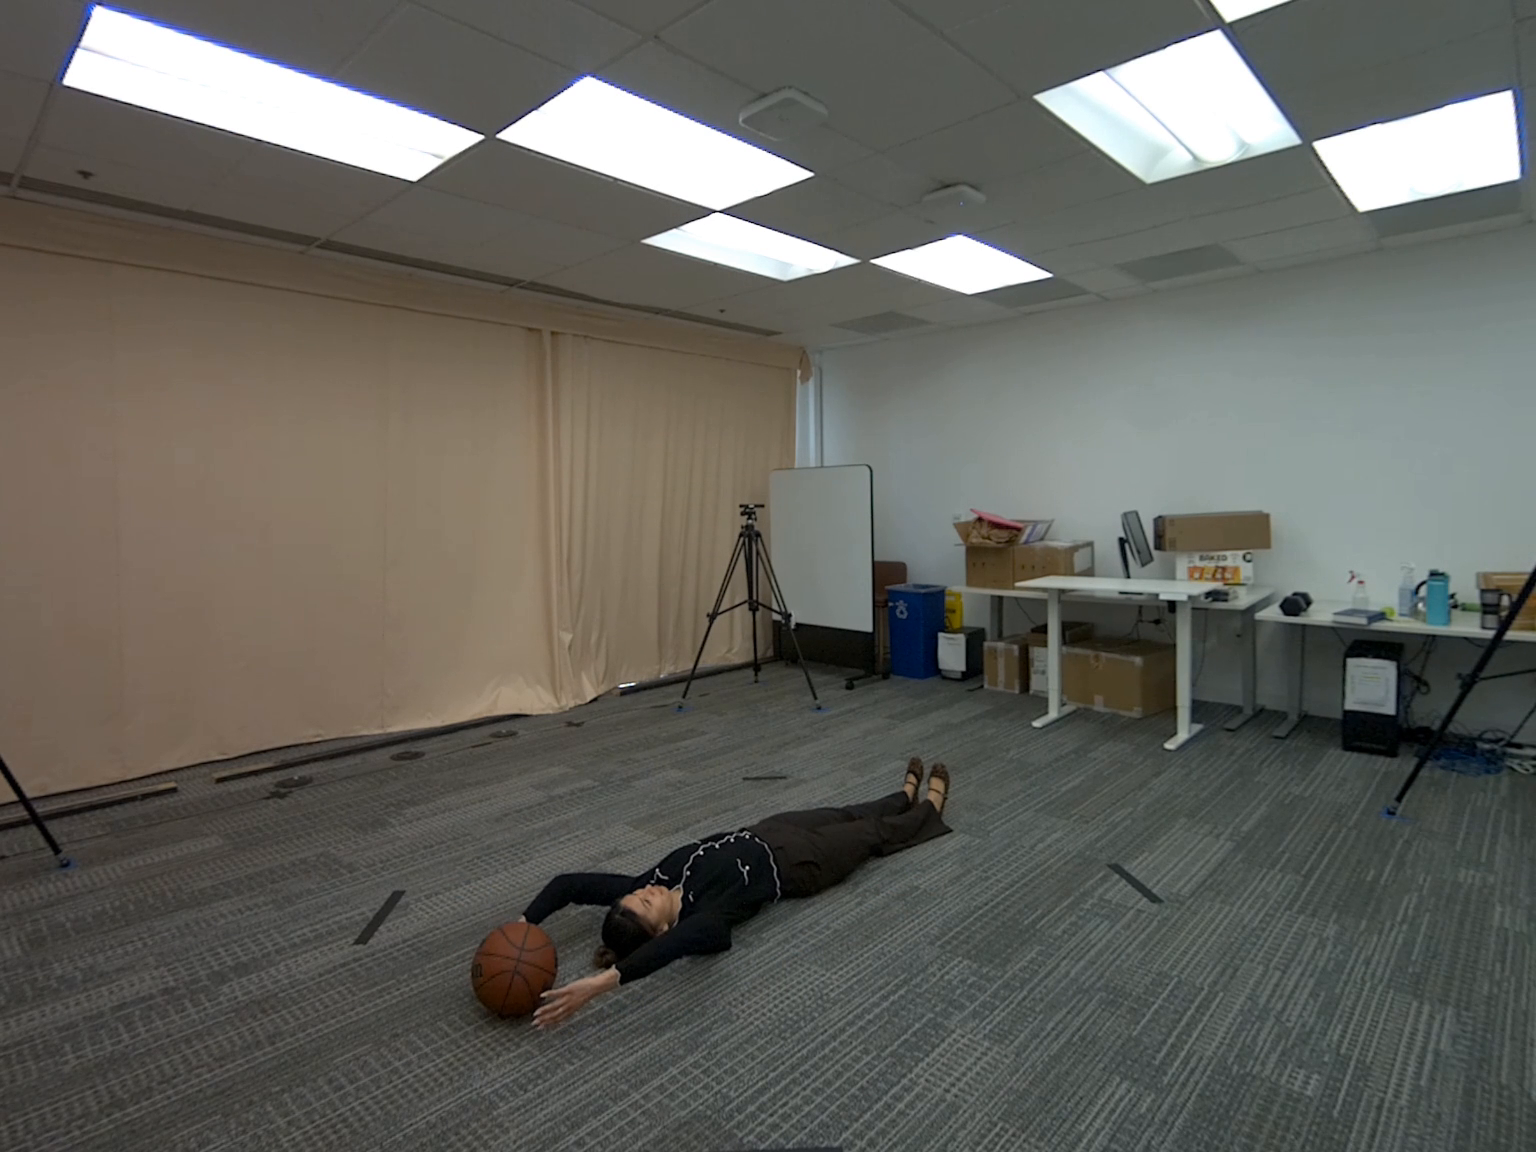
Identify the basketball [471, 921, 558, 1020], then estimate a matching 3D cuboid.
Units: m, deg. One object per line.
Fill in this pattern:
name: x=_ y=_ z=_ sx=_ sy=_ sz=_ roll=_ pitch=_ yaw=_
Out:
basketball: x=-0.703 y=1.092 z=2.342 sx=0.236 sy=0.235 sz=0.237 roll=-1 pitch=4 yaw=-2
